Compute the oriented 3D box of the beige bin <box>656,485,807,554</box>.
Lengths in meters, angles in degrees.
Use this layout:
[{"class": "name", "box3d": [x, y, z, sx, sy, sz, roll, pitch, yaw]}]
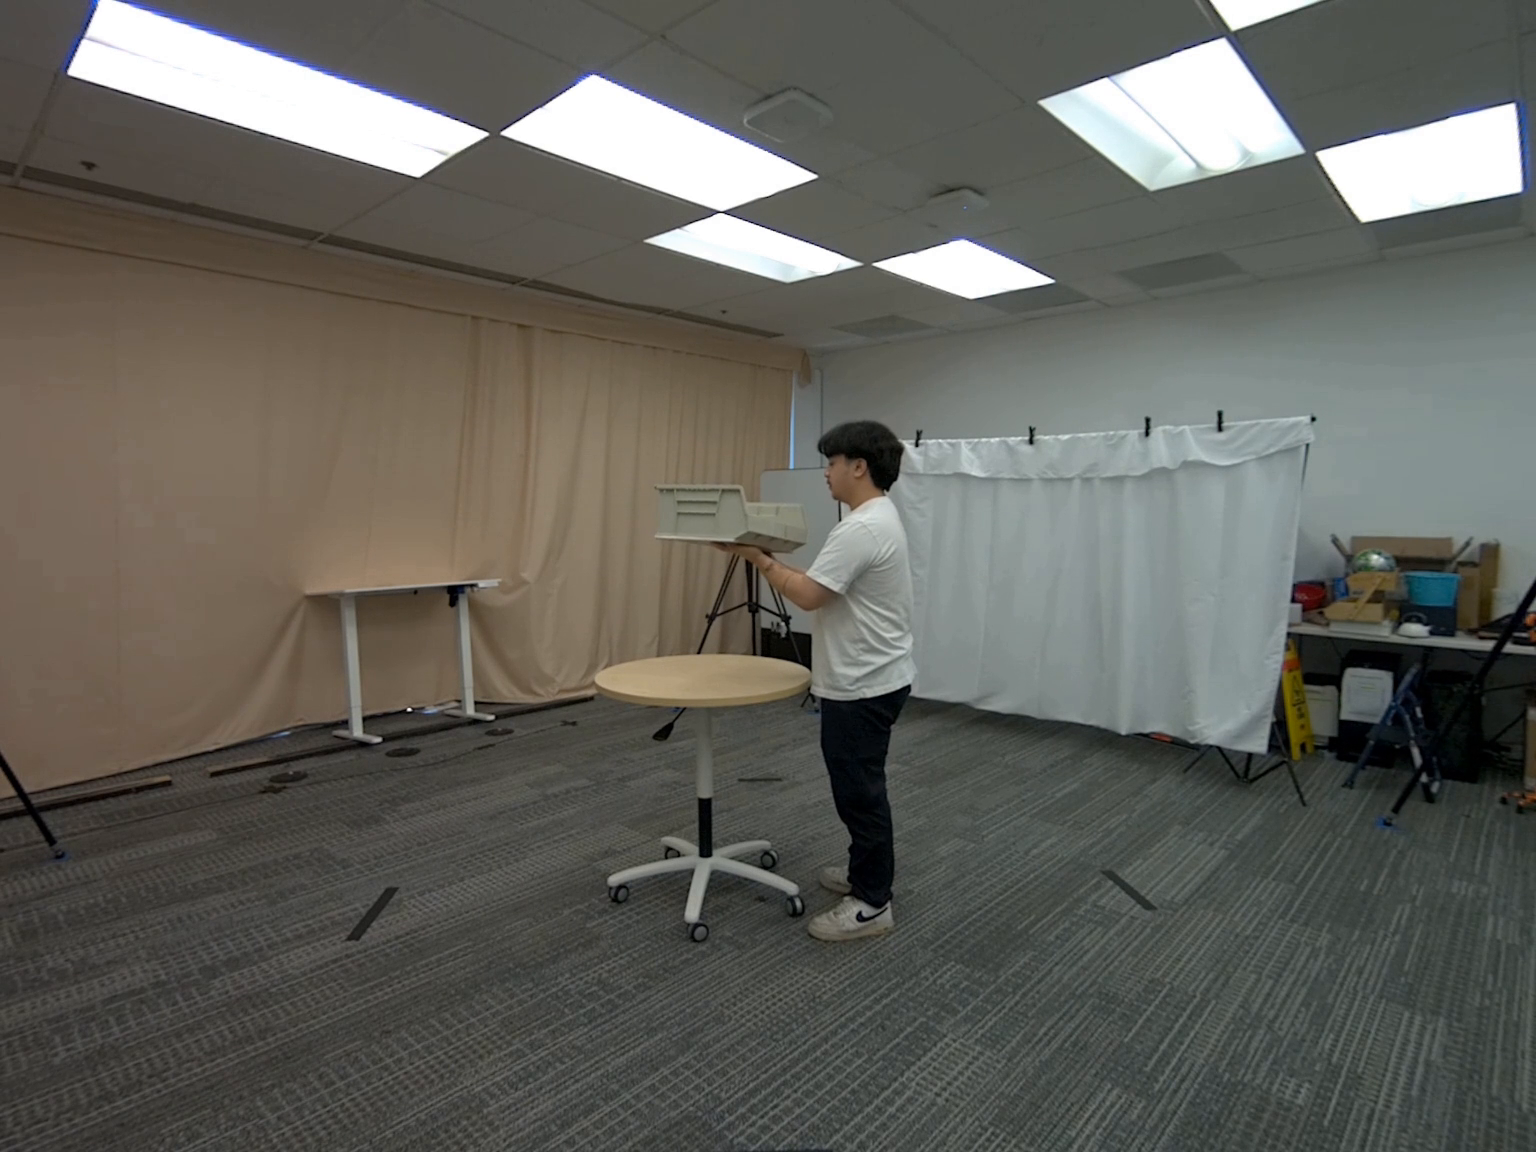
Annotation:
[{"class": "beige bin", "box3d": [-0.116, -0.189, 2.888, 0.388, 0.189, 0.409, 3, -2, 31]}]
